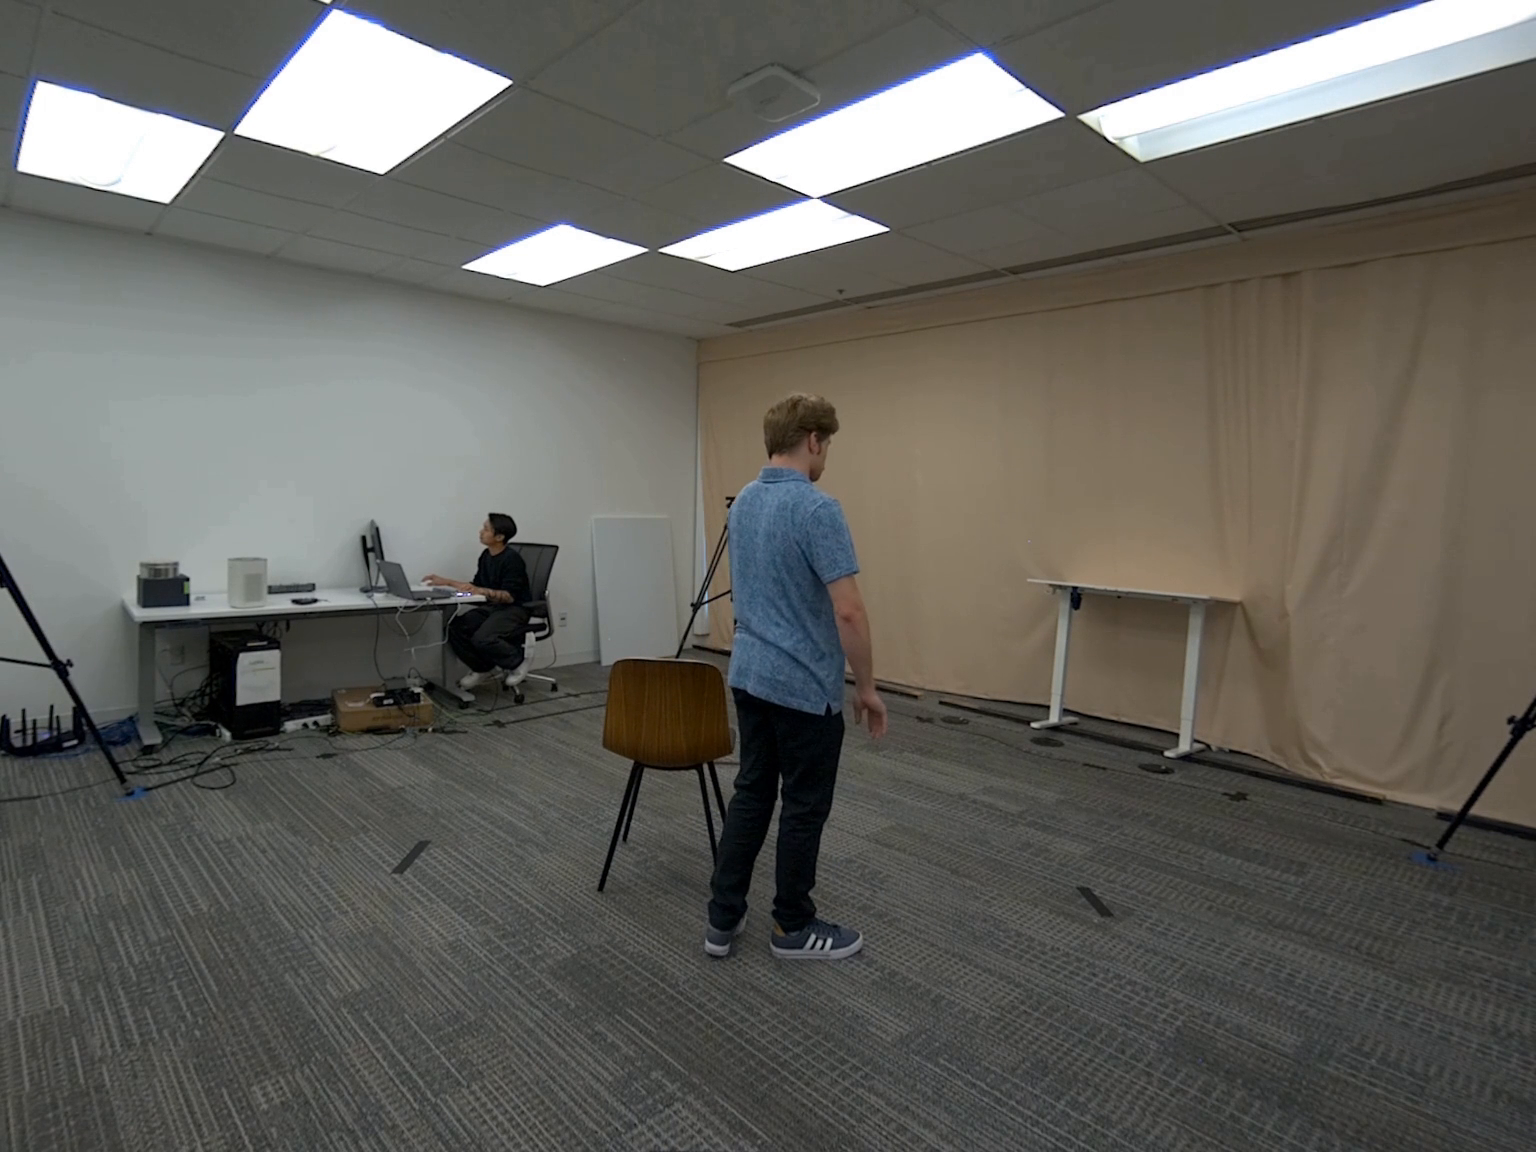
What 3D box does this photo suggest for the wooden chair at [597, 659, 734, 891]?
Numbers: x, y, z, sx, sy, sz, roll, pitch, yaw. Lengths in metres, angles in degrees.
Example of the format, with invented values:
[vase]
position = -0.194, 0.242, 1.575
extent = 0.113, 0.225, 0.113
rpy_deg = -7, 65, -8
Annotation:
[wooden chair]
position = -0.369, 0.673, 3.142
extent = 0.479, 0.872, 0.525
rpy_deg = 1, 8, 1
